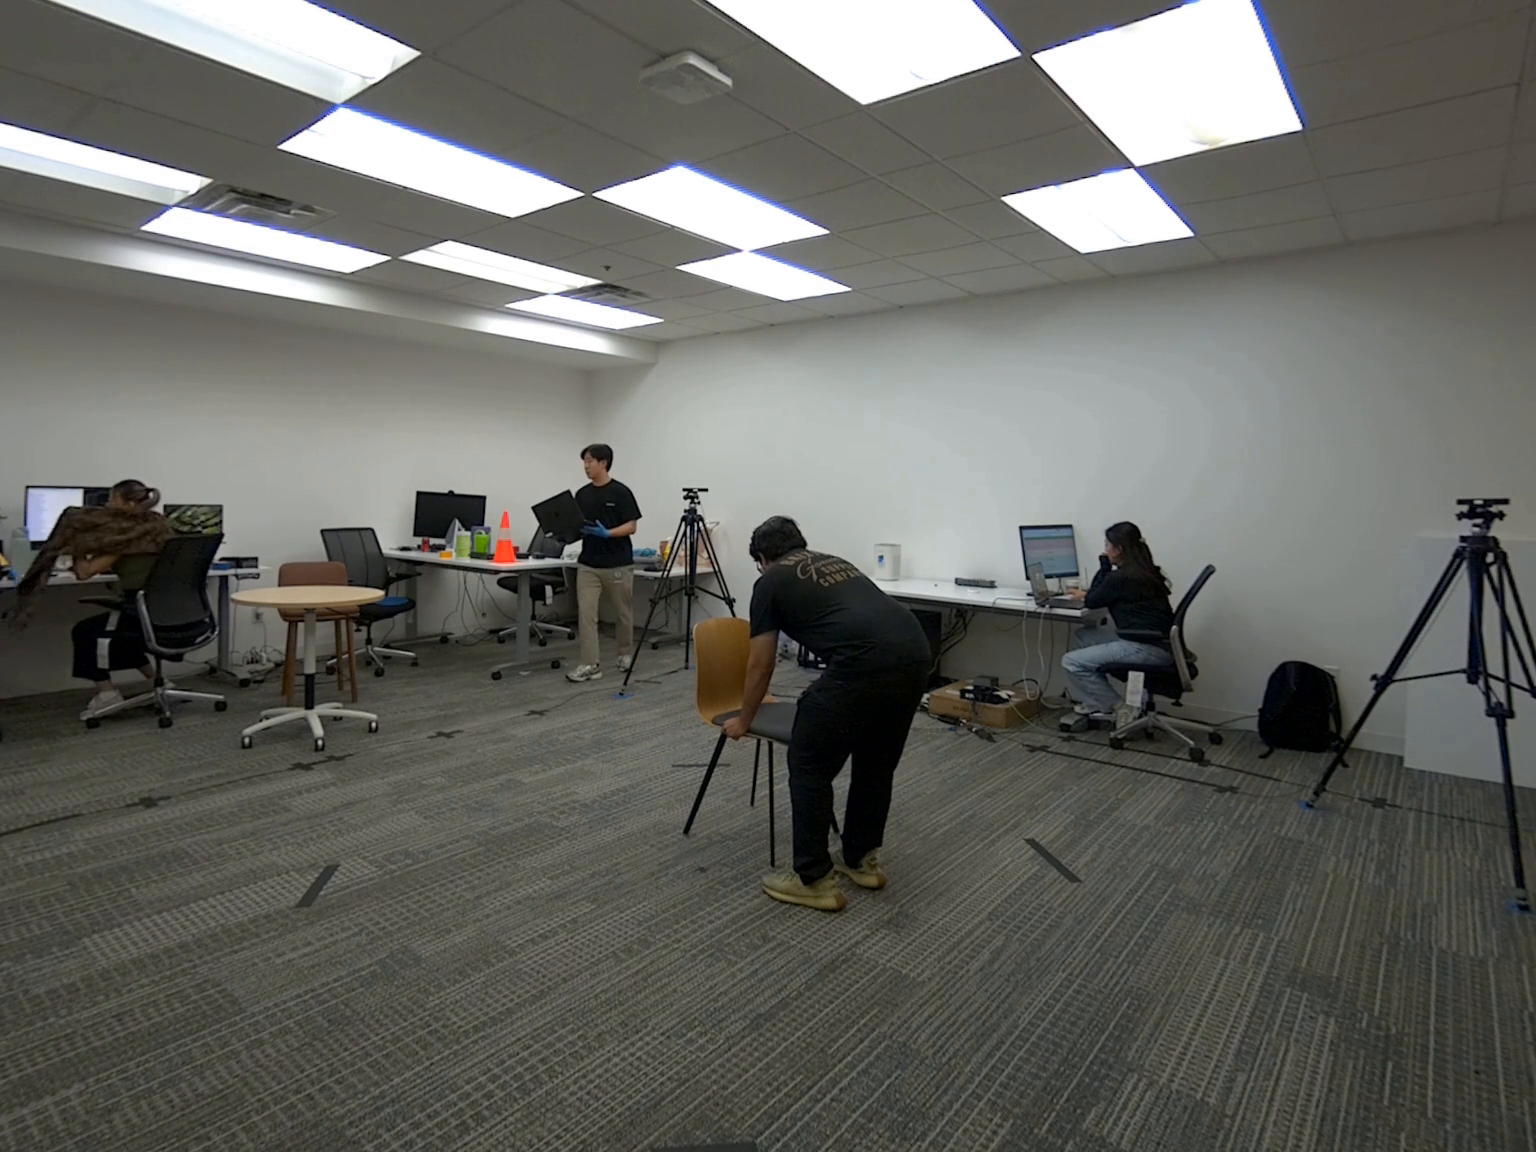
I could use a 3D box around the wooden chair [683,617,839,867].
[{"bbox_3d":[-0.019,0.613,3.401,0.539,0.877,0.464,-2,0,39],"label":"wooden chair"}]
